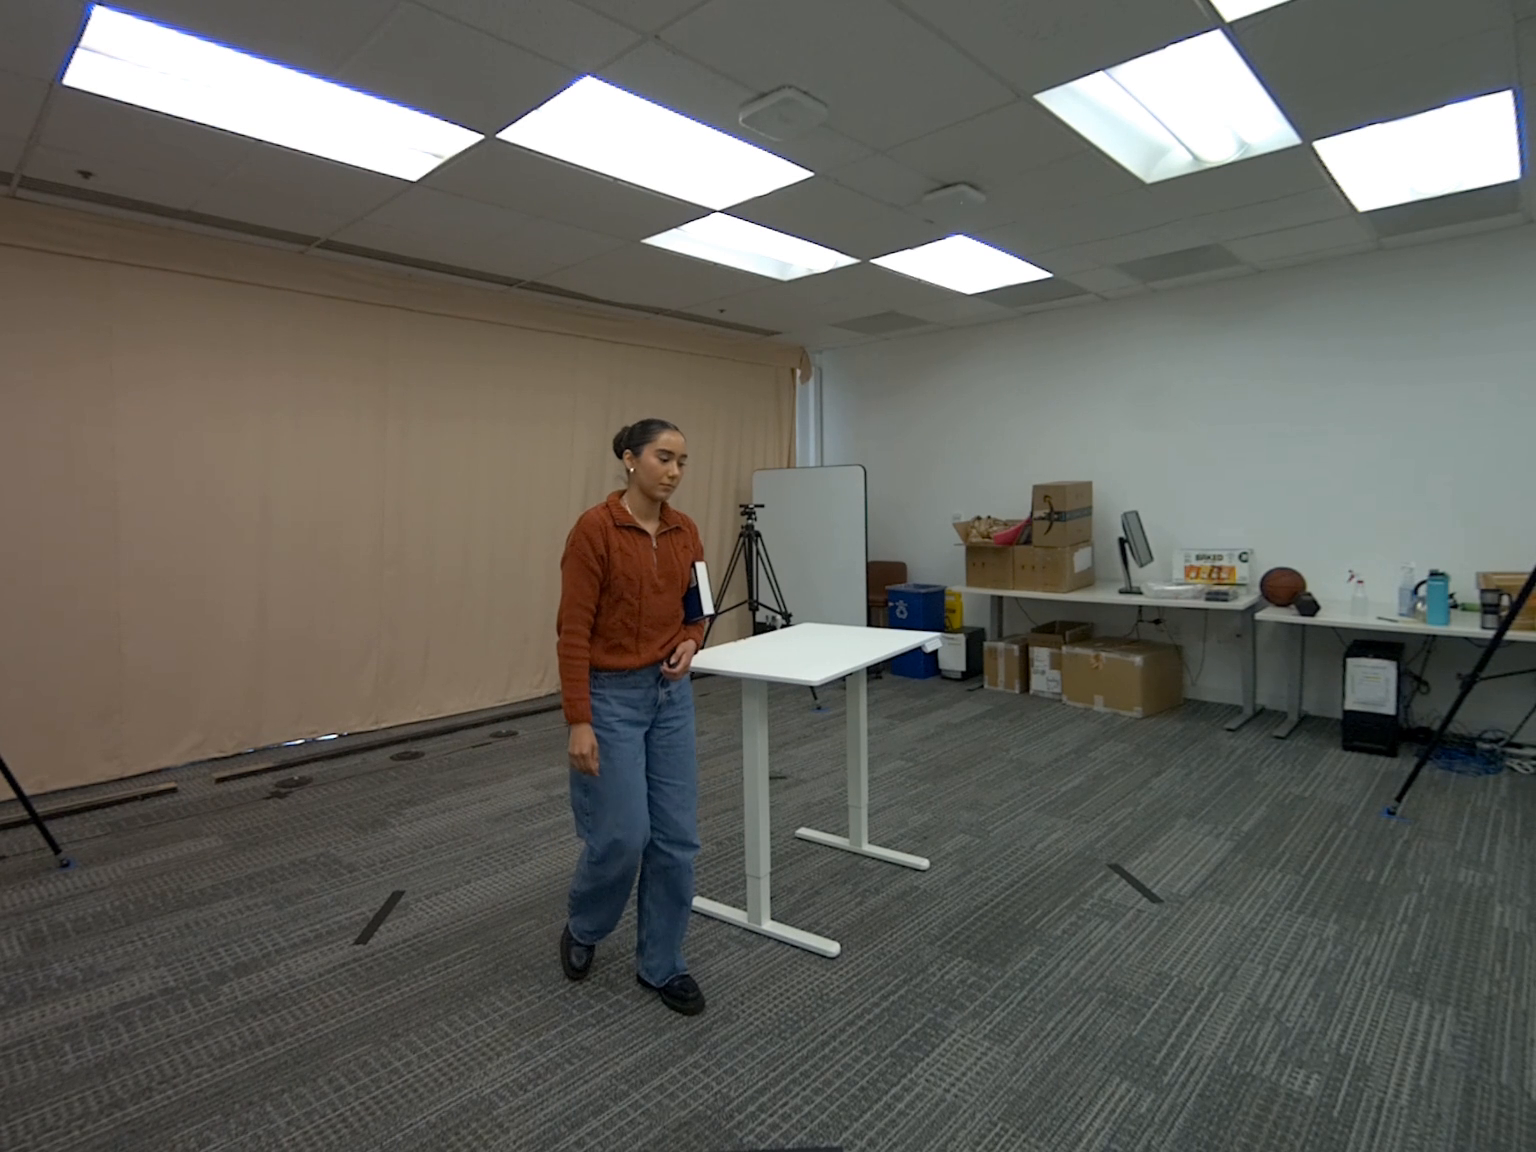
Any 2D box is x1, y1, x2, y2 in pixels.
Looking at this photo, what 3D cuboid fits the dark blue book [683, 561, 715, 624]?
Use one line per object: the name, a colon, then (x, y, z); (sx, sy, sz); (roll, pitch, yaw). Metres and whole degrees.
dark blue book: (-0.251, 0.060, 2.490); (0.044, 0.165, 0.251); (2, -16, -42)
